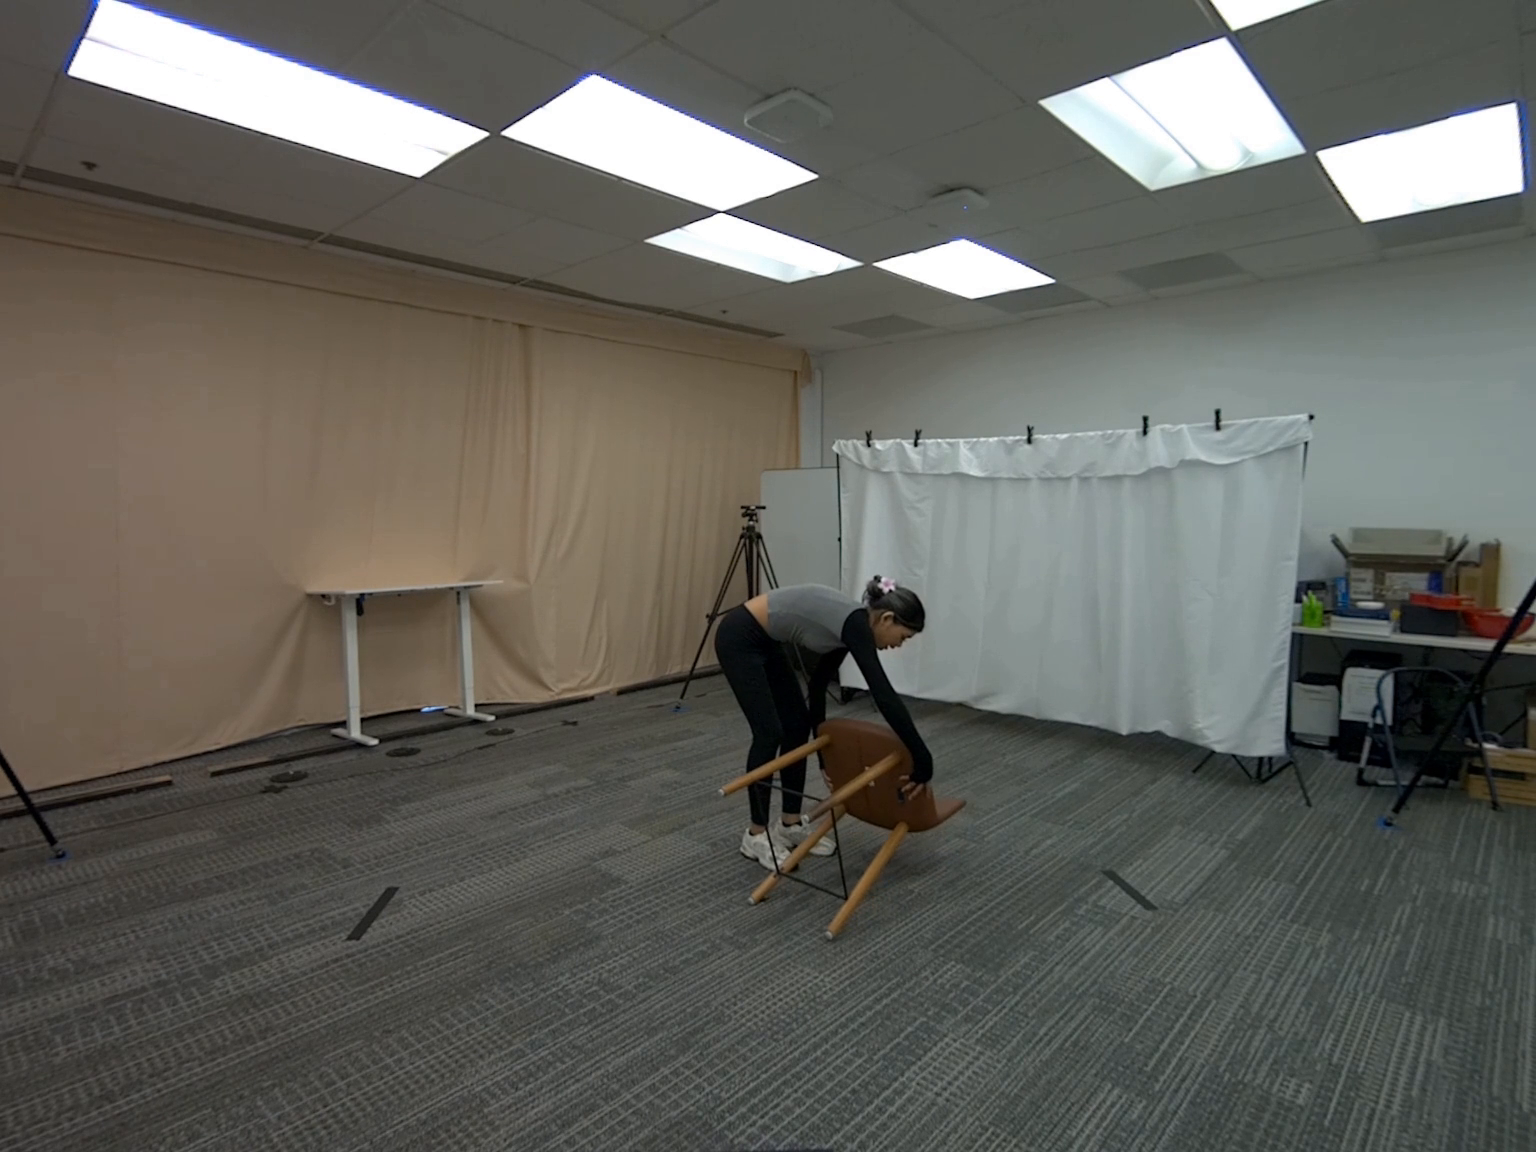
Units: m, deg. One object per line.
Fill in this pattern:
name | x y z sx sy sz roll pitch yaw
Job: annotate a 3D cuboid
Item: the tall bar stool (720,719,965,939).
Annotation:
tall bar stool | 0.319 0.804 3.046 0.471 0.463 0.870 1 18 45
